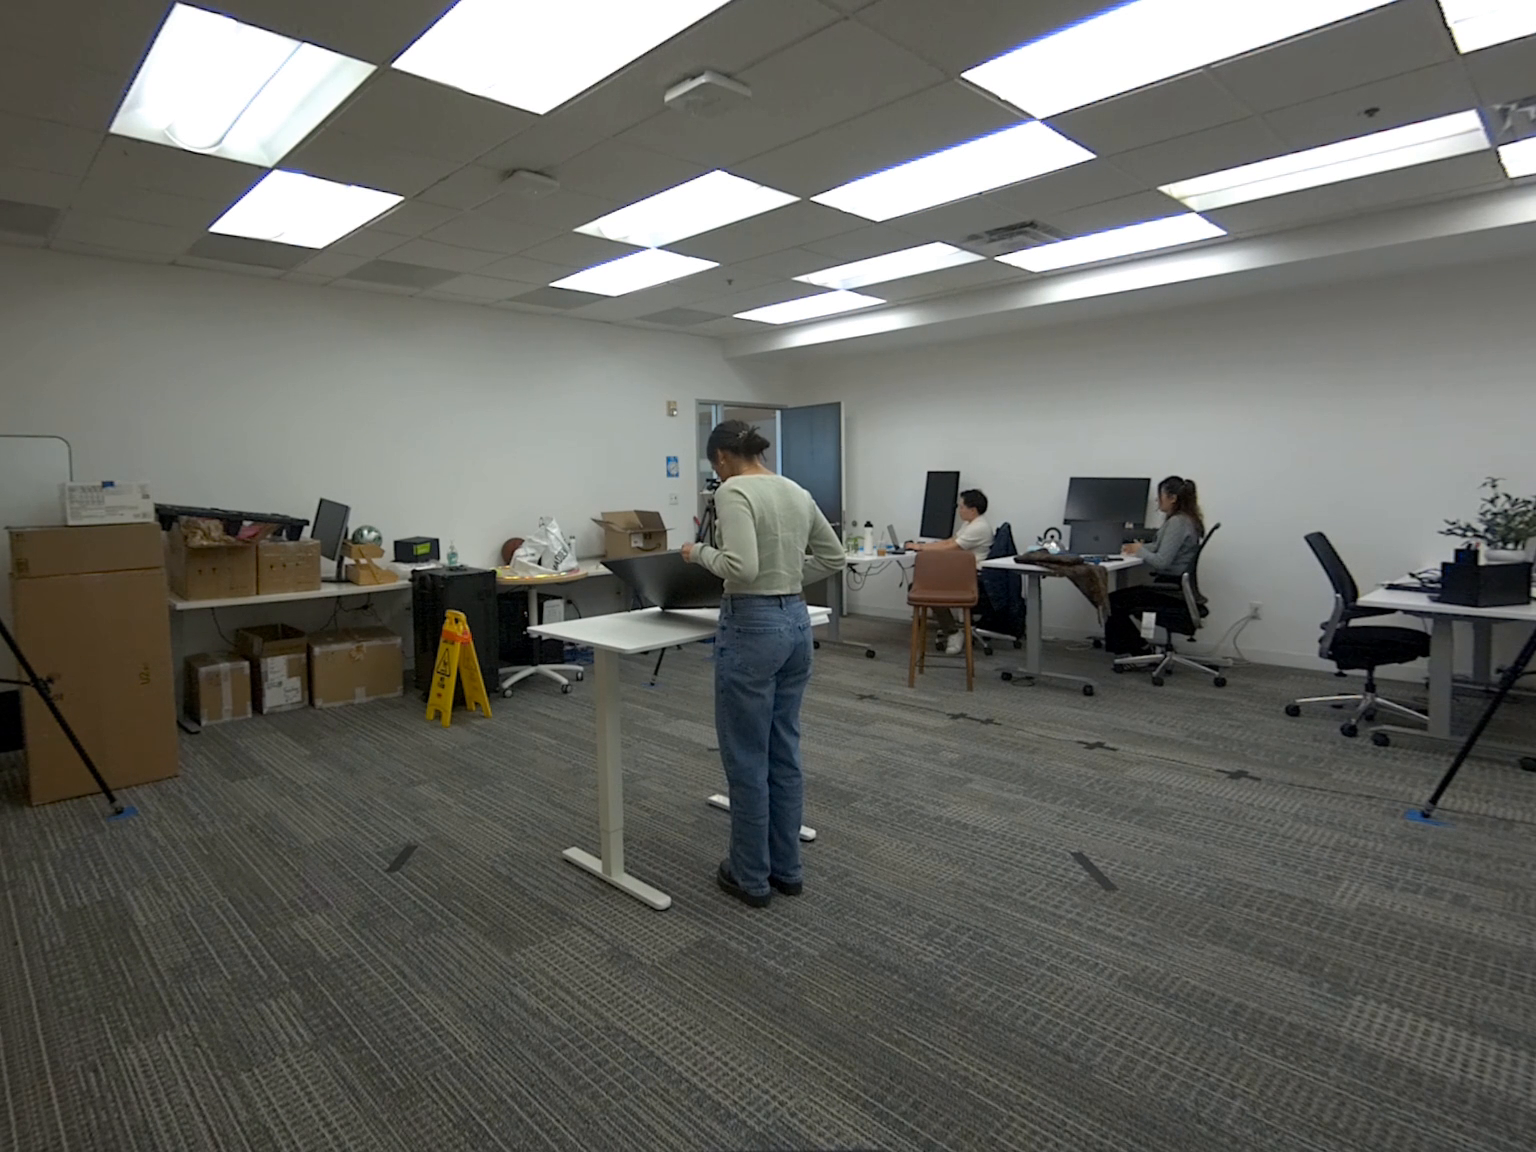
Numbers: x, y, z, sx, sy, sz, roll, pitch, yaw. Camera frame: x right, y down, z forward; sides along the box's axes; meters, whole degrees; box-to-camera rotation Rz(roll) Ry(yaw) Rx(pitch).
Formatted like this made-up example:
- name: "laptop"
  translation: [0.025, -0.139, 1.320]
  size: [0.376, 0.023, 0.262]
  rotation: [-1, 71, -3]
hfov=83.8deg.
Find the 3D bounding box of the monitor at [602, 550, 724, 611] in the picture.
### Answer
- name: "monitor"
  translation: [-0.273, -0.001, 3.226]
  size: [0.553, 0.189, 0.504]
  rotation: [-6, -16, 43]
